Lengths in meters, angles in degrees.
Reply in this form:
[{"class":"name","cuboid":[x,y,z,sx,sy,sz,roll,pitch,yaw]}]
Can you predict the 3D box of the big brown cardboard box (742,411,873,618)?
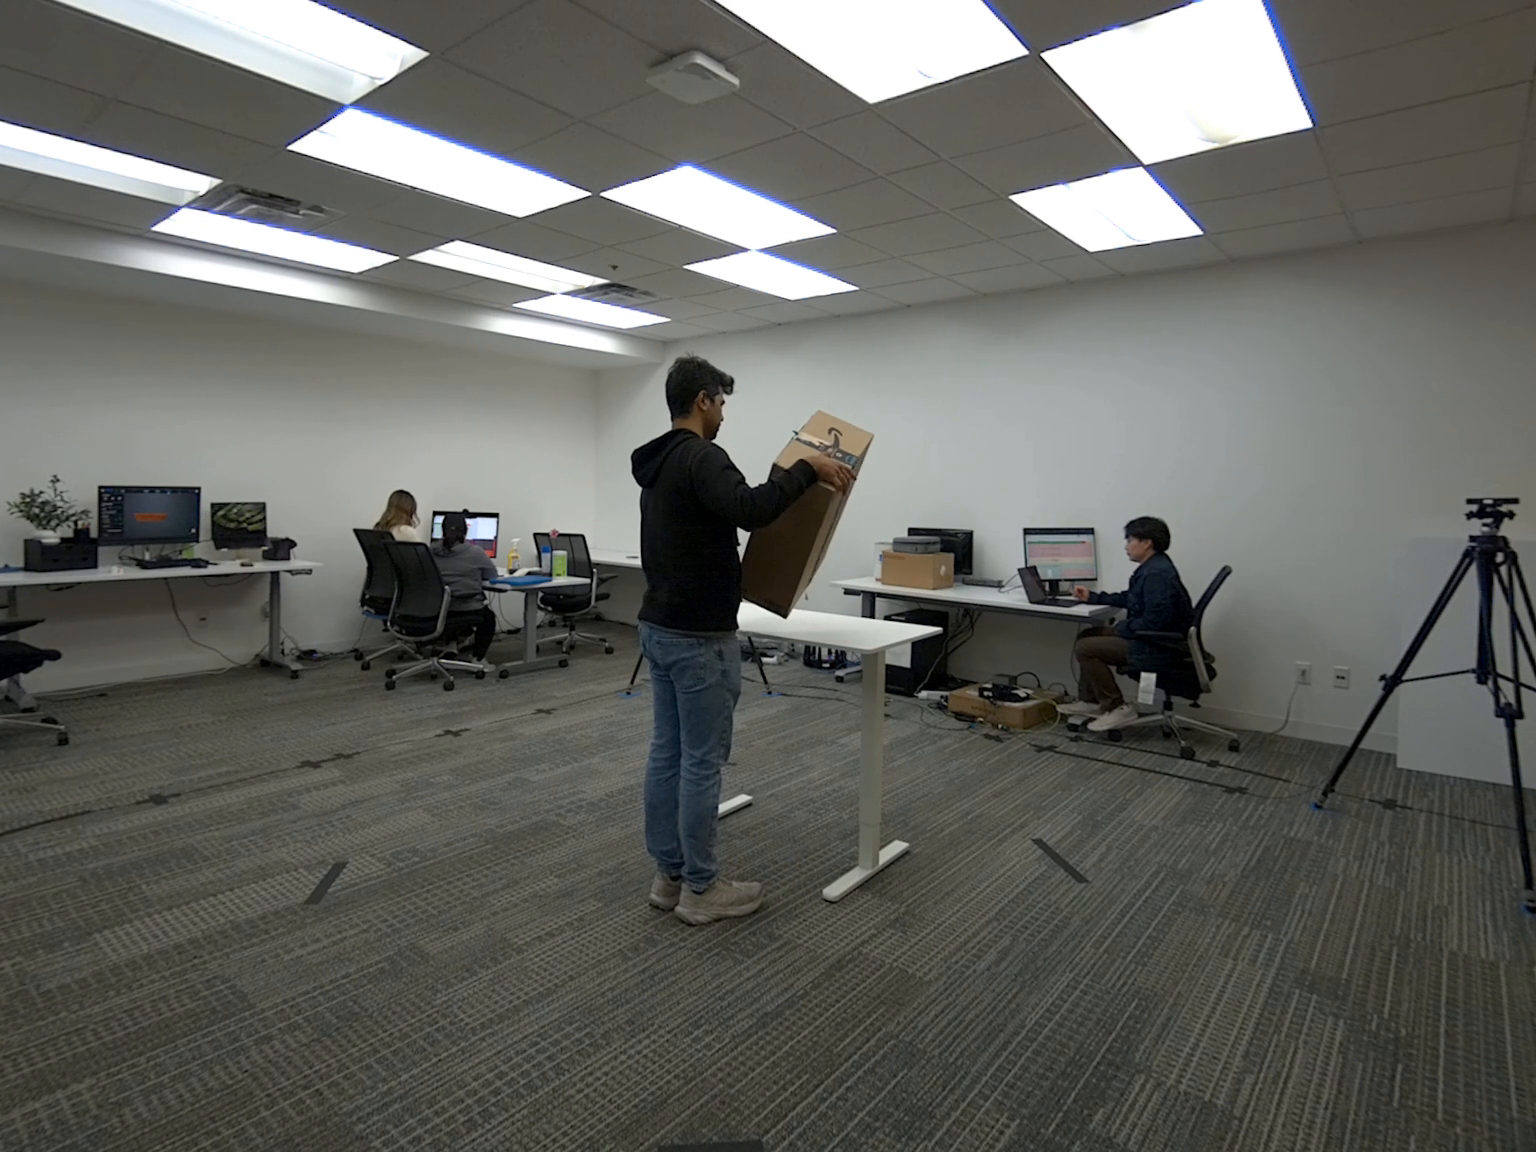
[{"class":"big brown cardboard box","cuboid":[0.102,-0.217,2.934,0.236,0.579,0.419,26,39,8]}]
